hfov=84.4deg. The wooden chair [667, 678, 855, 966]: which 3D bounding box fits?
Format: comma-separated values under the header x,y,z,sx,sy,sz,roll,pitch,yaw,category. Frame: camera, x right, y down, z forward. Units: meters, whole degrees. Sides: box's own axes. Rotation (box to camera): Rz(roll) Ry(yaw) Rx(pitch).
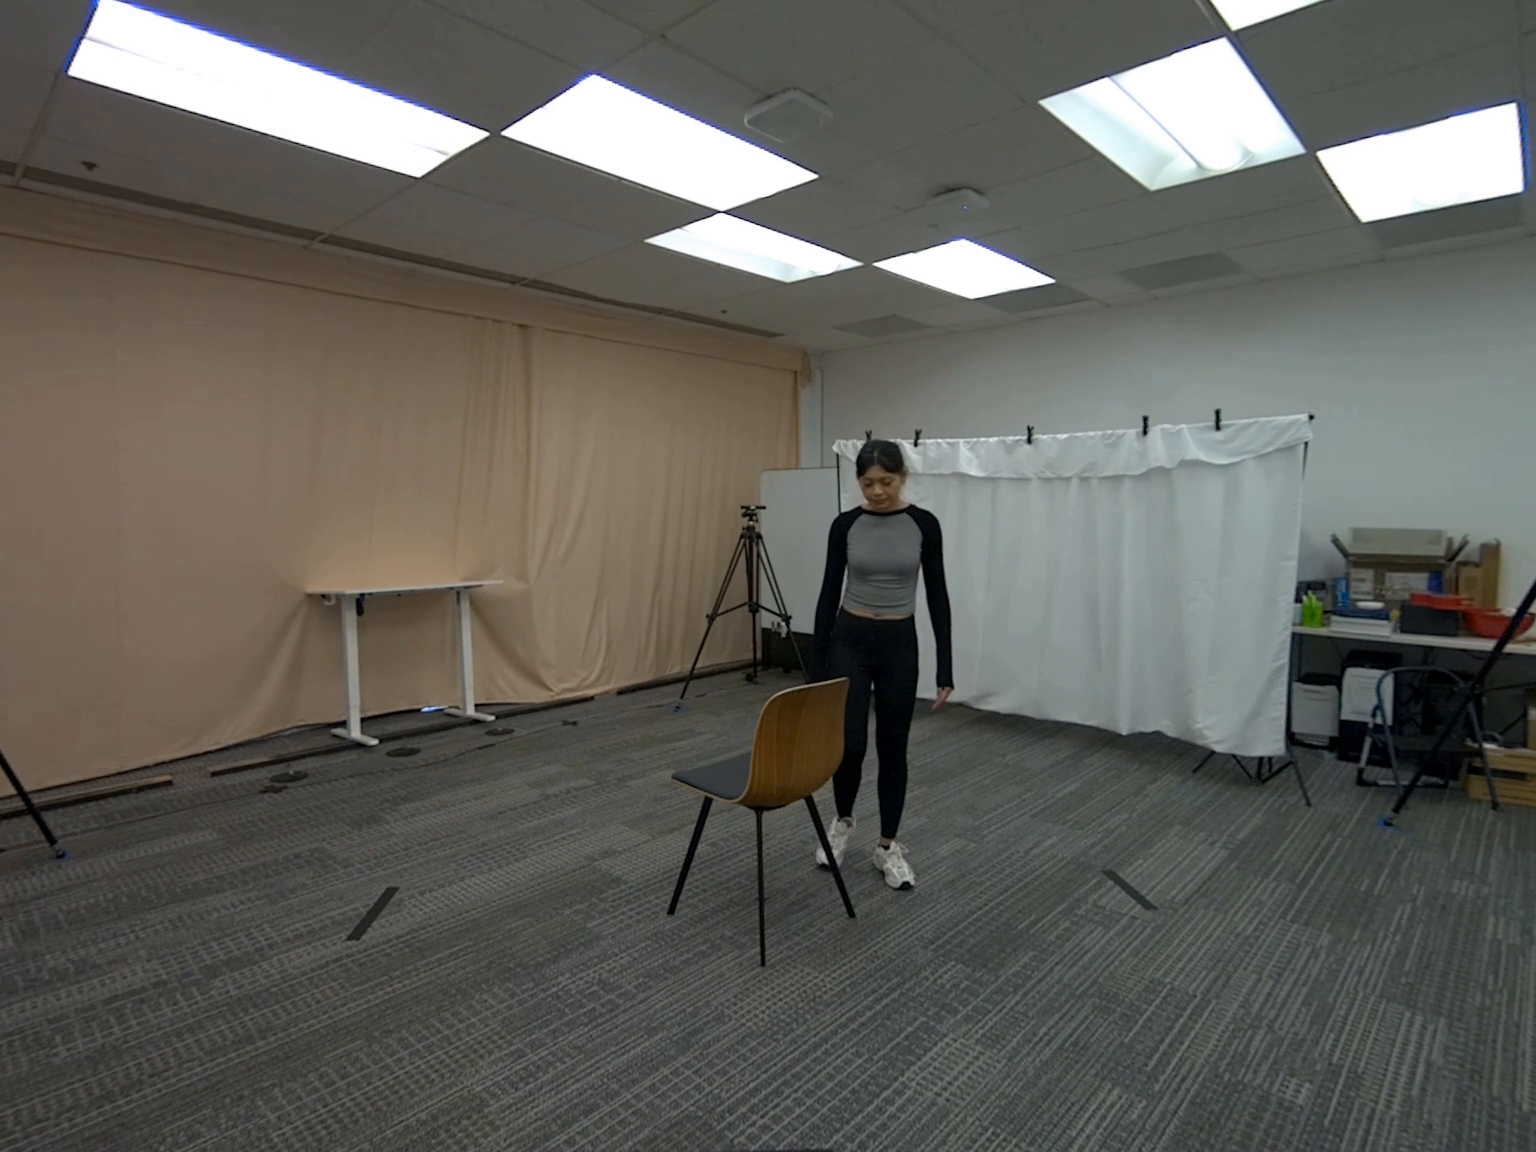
x,y,z,sx,sy,sz,roll,pitch,yaw,category
-0.031,0.727,2.835,0.463,0.874,0.541,-4,9,-45,wooden chair
